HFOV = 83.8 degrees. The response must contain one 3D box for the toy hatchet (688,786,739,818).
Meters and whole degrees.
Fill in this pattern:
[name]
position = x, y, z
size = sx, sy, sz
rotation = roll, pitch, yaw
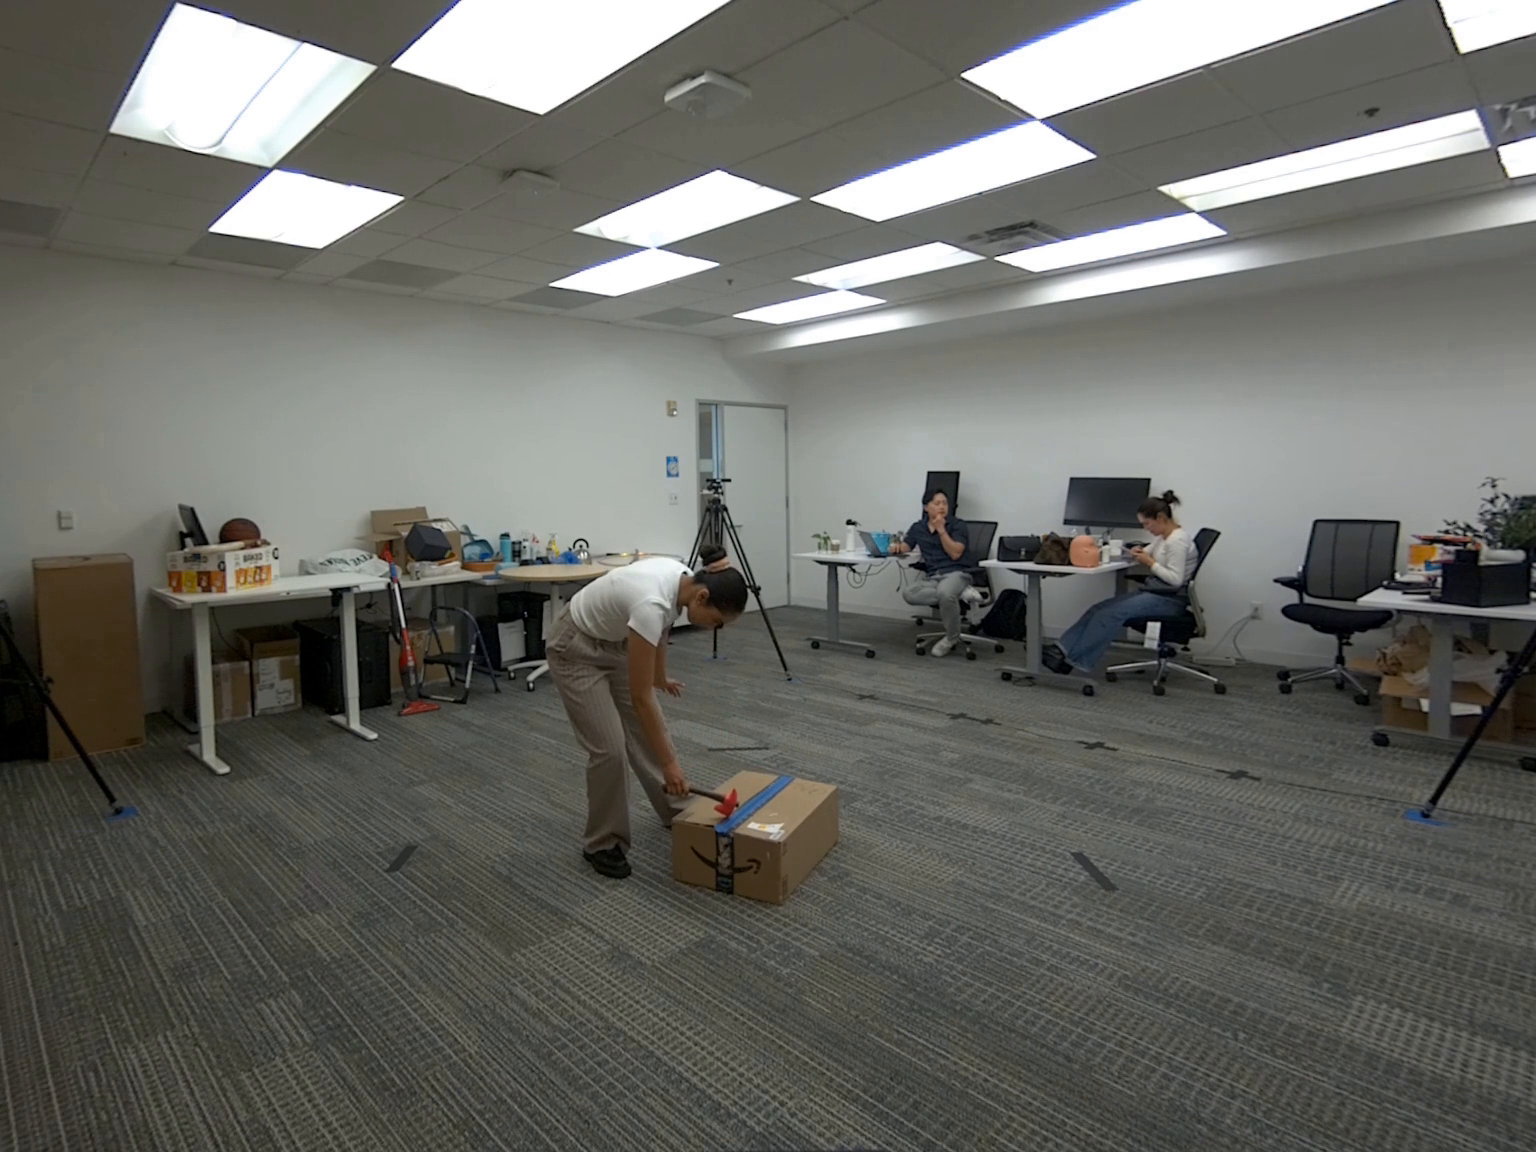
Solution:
[toy hatchet]
position = -0.234, 0.778, 2.962
size = 0.273, 0.128, 0.030
rotation = -1, 27, 12
